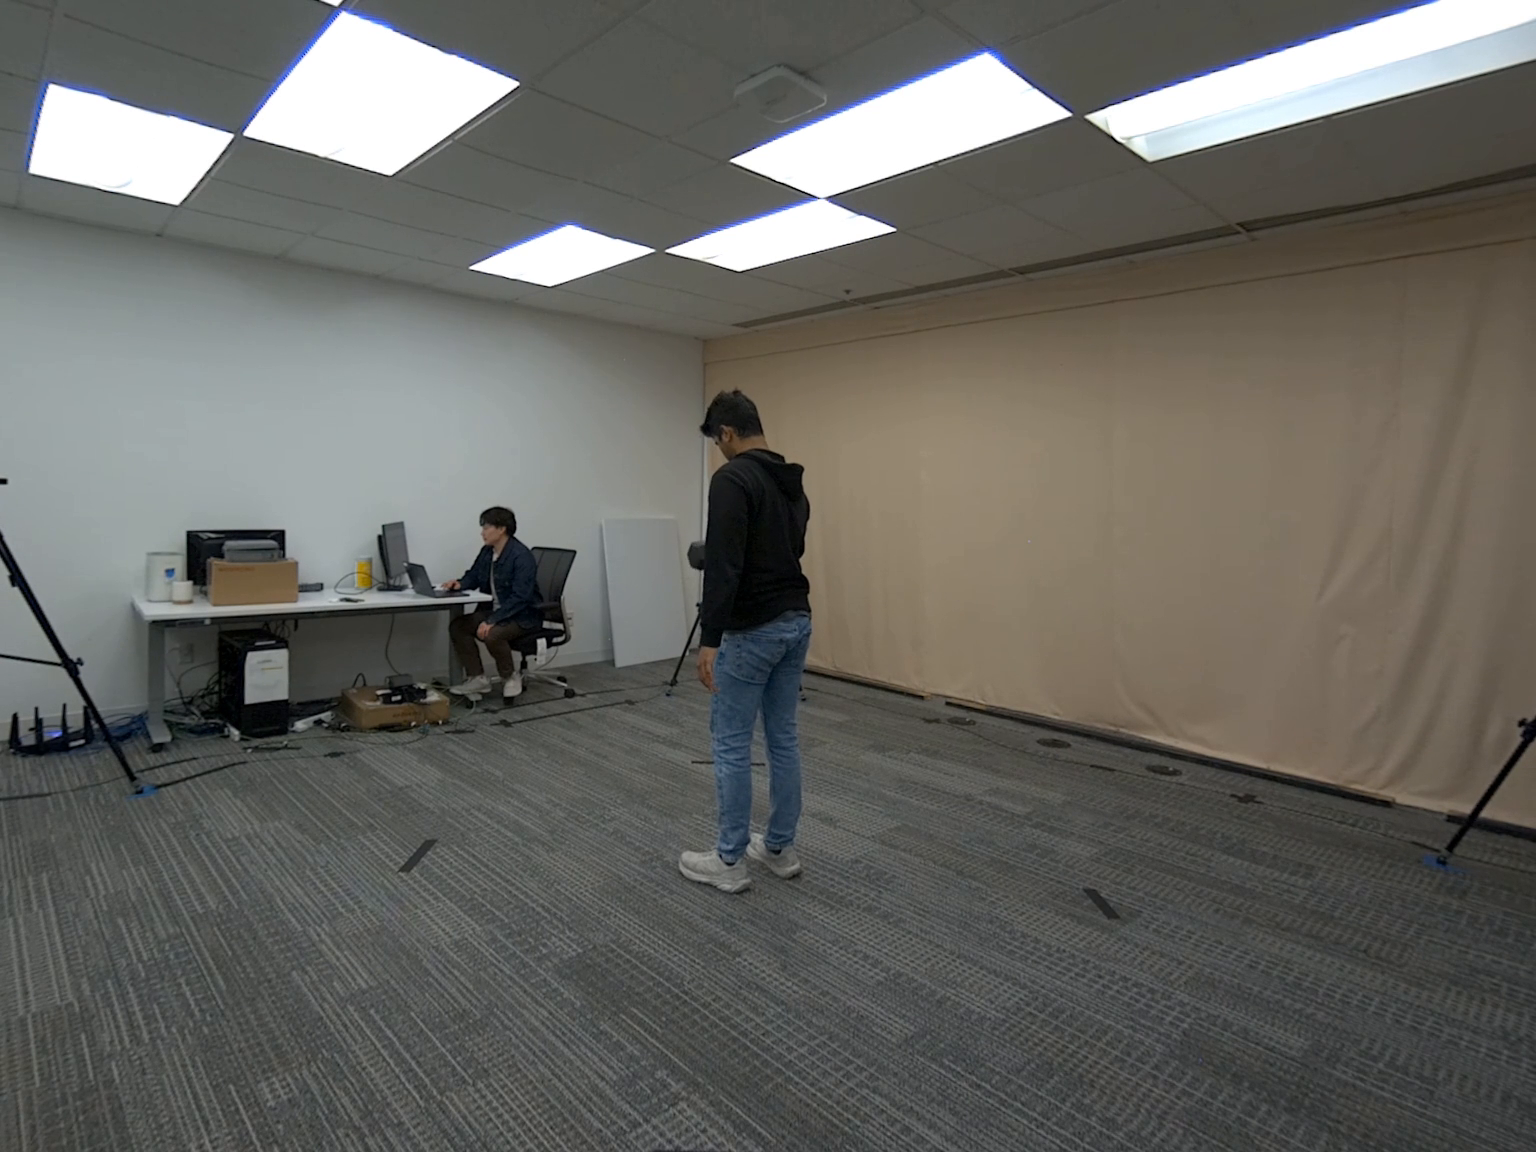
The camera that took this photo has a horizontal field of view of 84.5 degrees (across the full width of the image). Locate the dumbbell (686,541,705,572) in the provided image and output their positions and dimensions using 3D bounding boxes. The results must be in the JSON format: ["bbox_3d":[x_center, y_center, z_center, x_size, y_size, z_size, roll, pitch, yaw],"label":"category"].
[{"bbox_3d":[-0.178,-0.091,3.442,0.288,0.107,0.126,-11,17,-36],"label":"dumbbell"}]
